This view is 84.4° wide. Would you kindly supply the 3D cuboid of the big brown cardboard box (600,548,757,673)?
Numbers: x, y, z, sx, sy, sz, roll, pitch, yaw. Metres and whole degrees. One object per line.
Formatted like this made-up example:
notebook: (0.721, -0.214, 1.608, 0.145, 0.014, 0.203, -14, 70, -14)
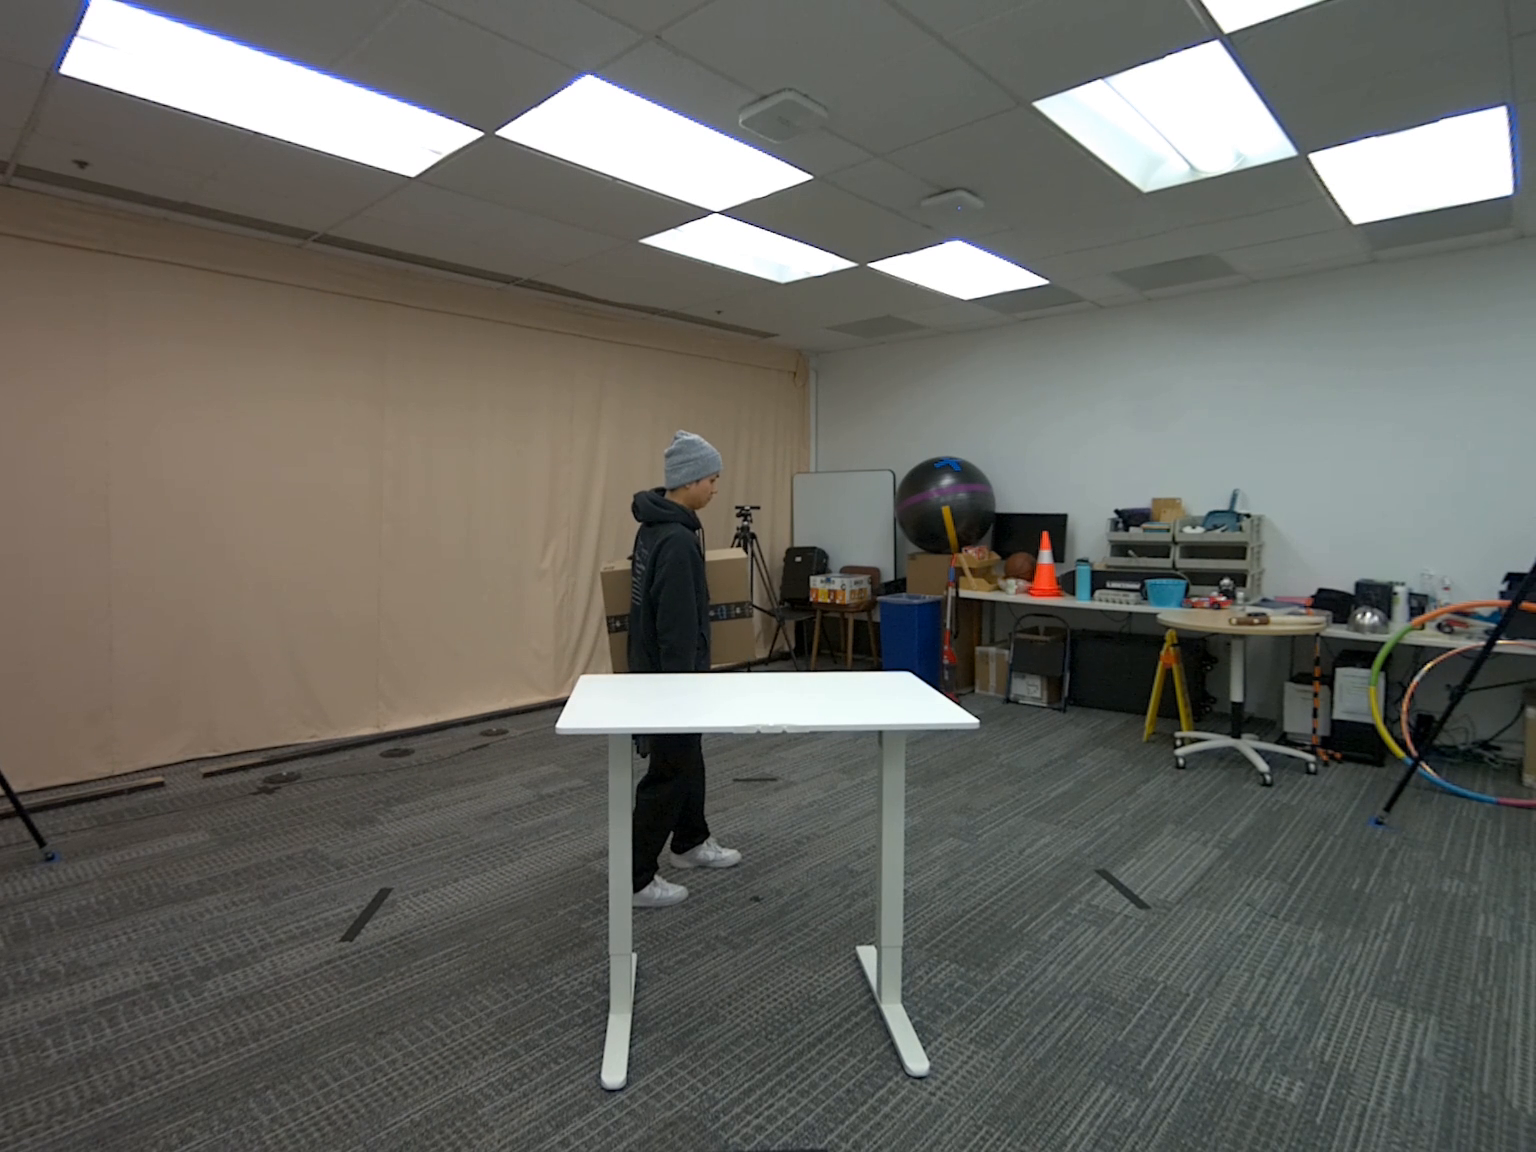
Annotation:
big brown cardboard box: (-0.350, 0.131, 3.349, 0.586, 0.415, 0.236, -6, 9, -5)
